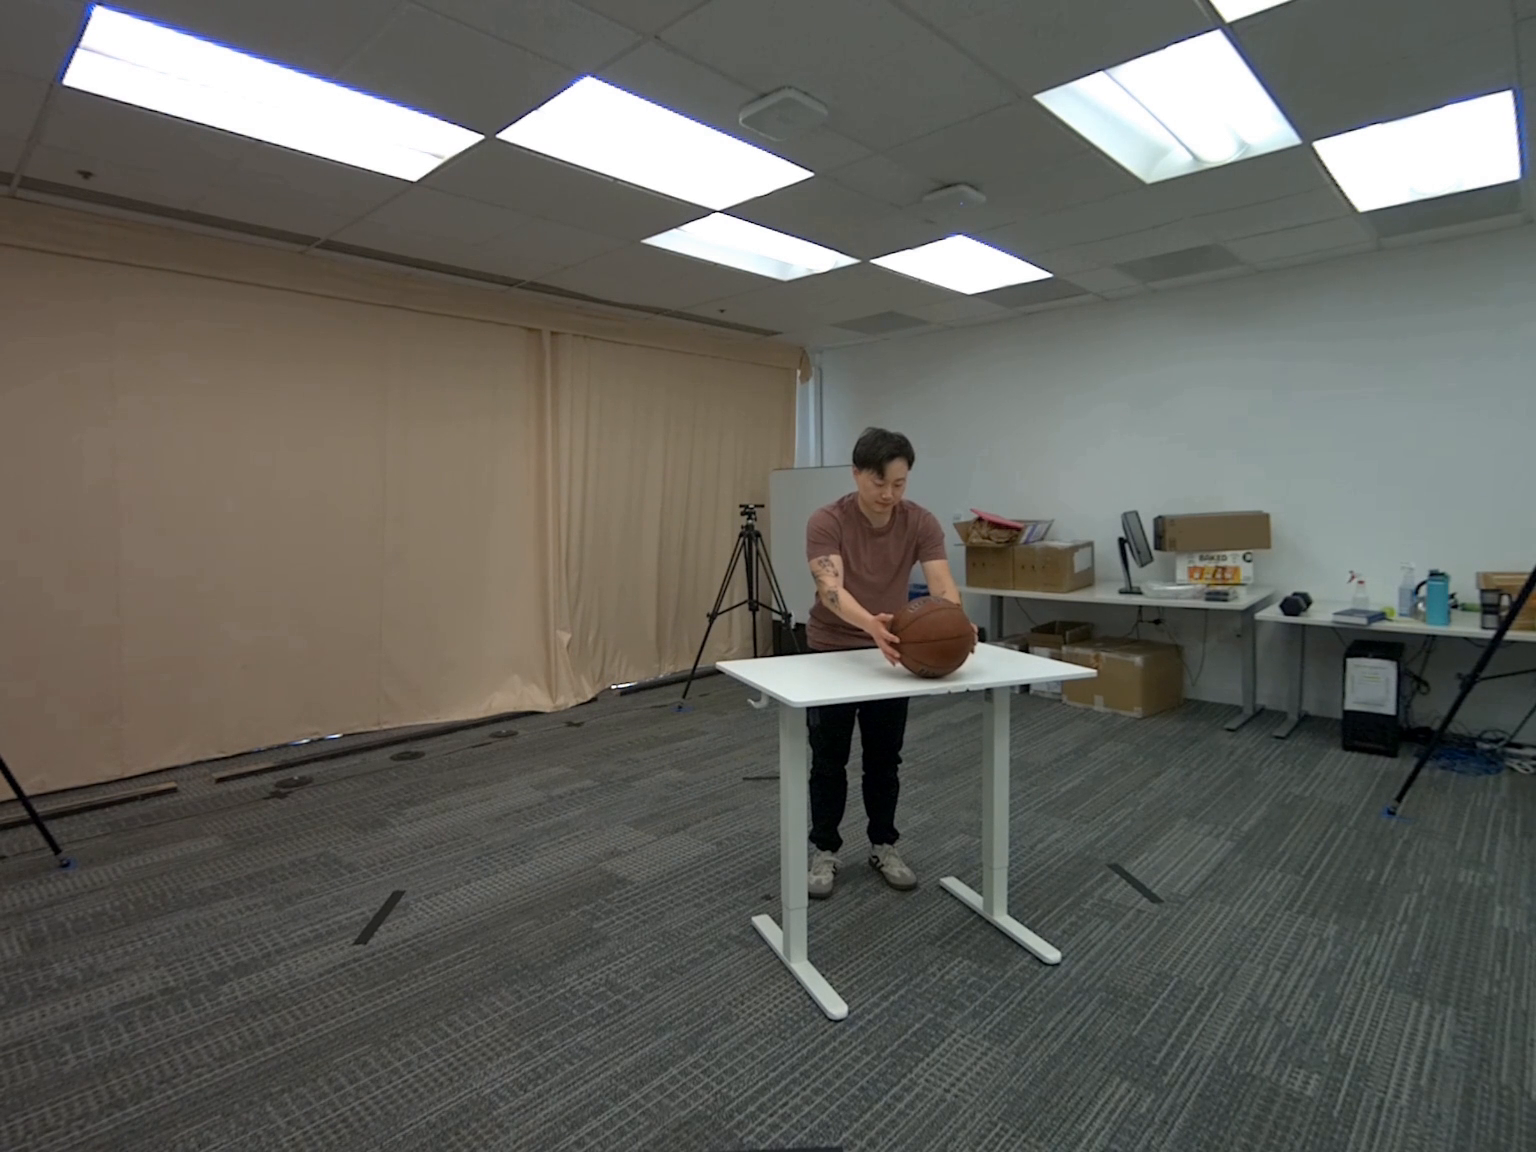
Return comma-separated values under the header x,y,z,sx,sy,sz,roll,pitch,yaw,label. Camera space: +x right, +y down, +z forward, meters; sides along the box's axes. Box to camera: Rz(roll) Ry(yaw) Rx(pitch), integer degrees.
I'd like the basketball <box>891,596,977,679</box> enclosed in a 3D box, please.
x,y,z,sx,sy,sz,roll,pitch,yaw,label
0.468,0.178,2.449,0.236,0.235,0.237,-1,4,-2,basketball
